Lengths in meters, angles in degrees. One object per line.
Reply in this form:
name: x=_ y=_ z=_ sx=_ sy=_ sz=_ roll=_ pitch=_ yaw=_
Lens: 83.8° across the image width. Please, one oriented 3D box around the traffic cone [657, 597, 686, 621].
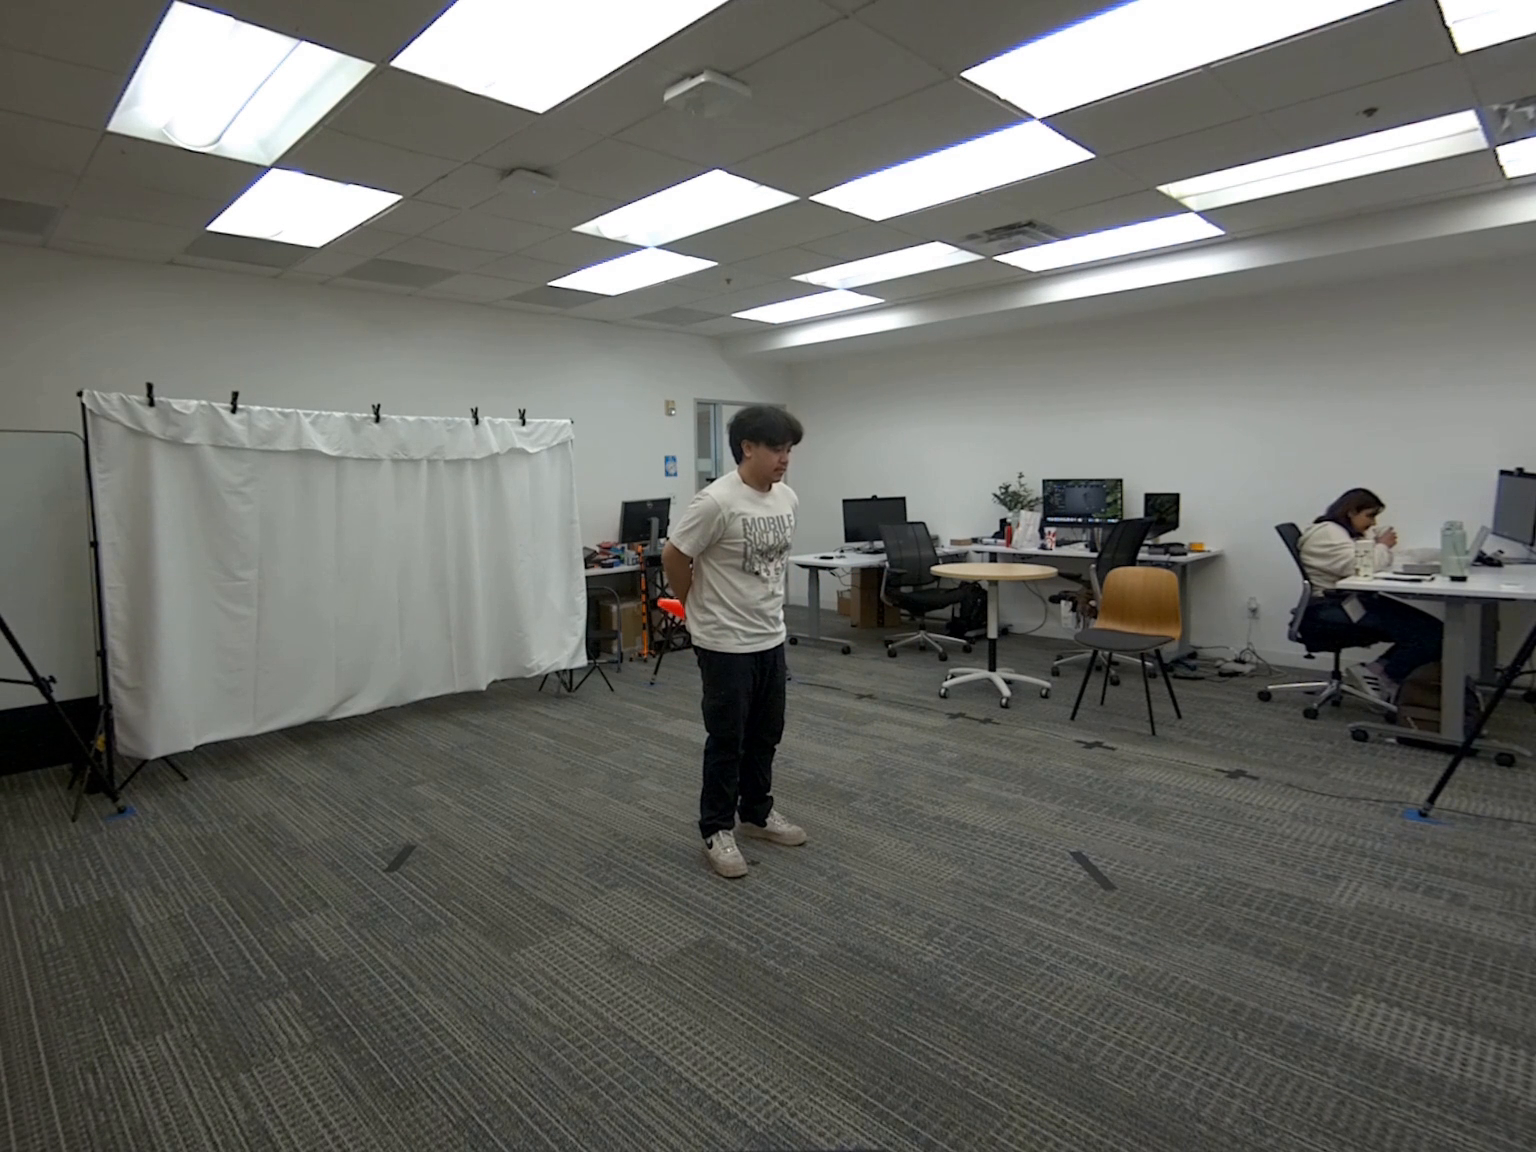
traffic cone: x=-0.292 y=0.142 z=3.357 sx=0.208 sy=0.207 sz=0.370 roll=-22 pitch=-26 yaw=35
